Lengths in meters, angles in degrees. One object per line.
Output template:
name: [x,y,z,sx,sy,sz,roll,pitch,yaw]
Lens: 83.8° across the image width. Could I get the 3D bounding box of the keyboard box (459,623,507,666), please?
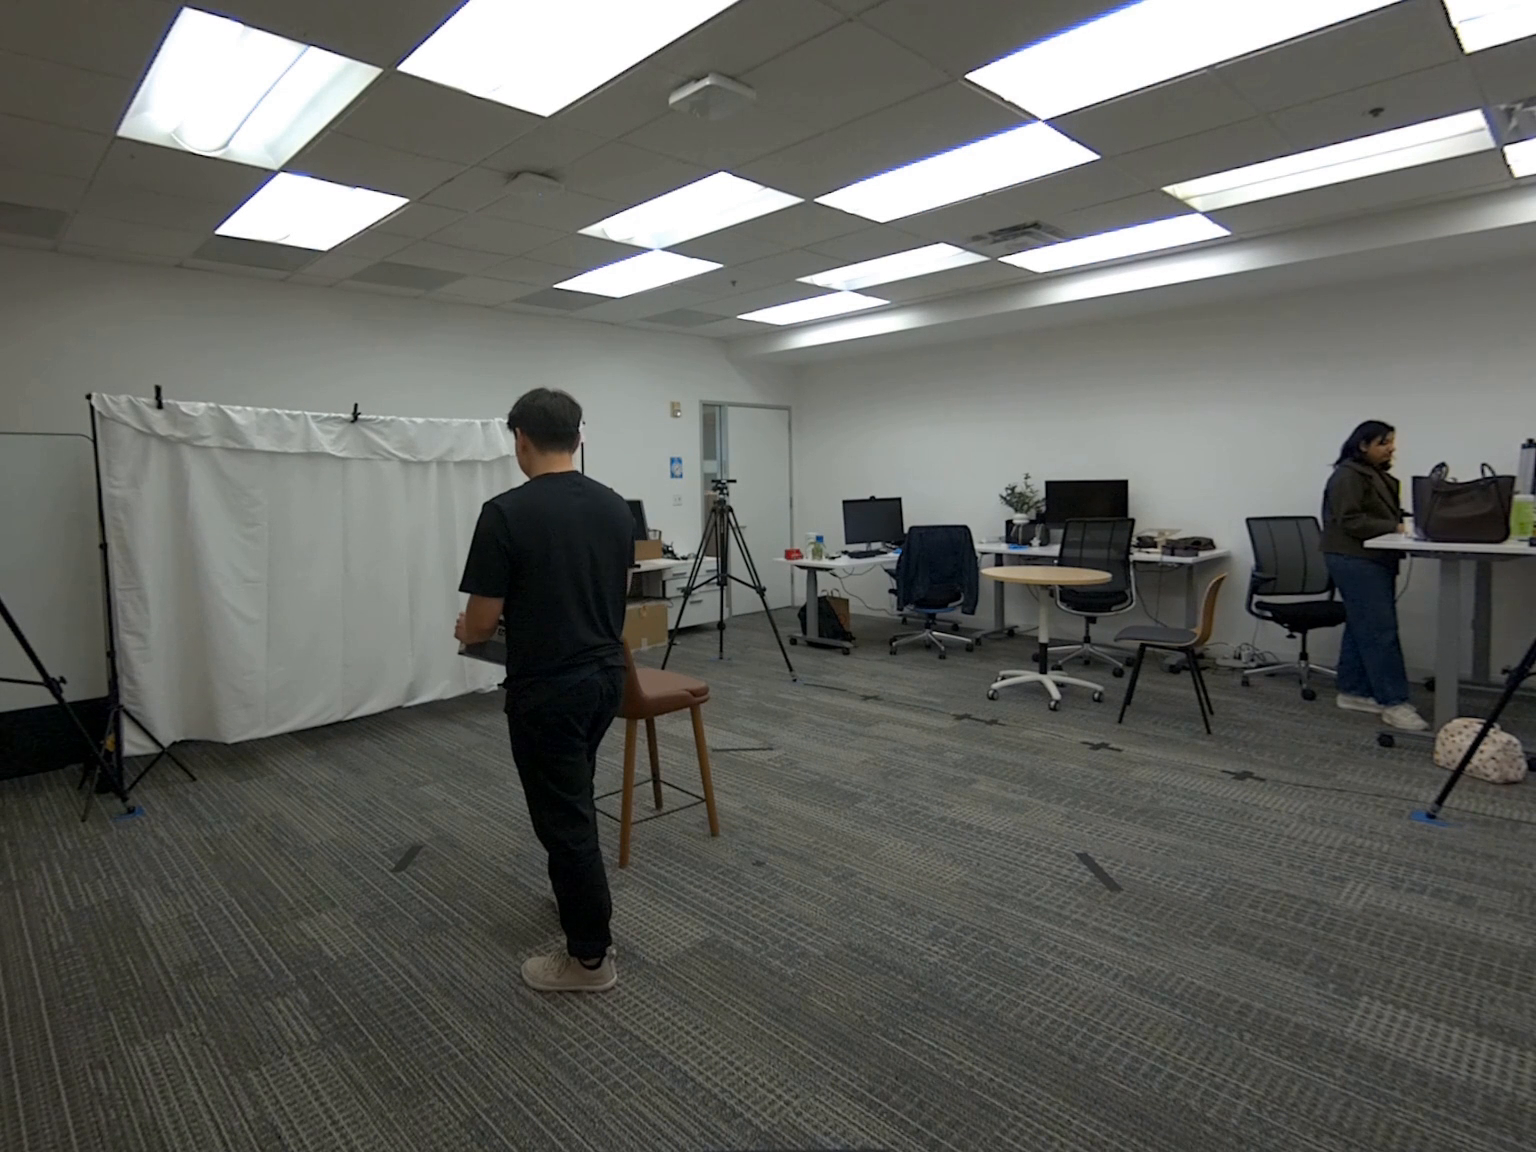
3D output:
keyboard box: [-0.807,0.043,2.596,0.170,0.443,0.060,22,-25,-36]
